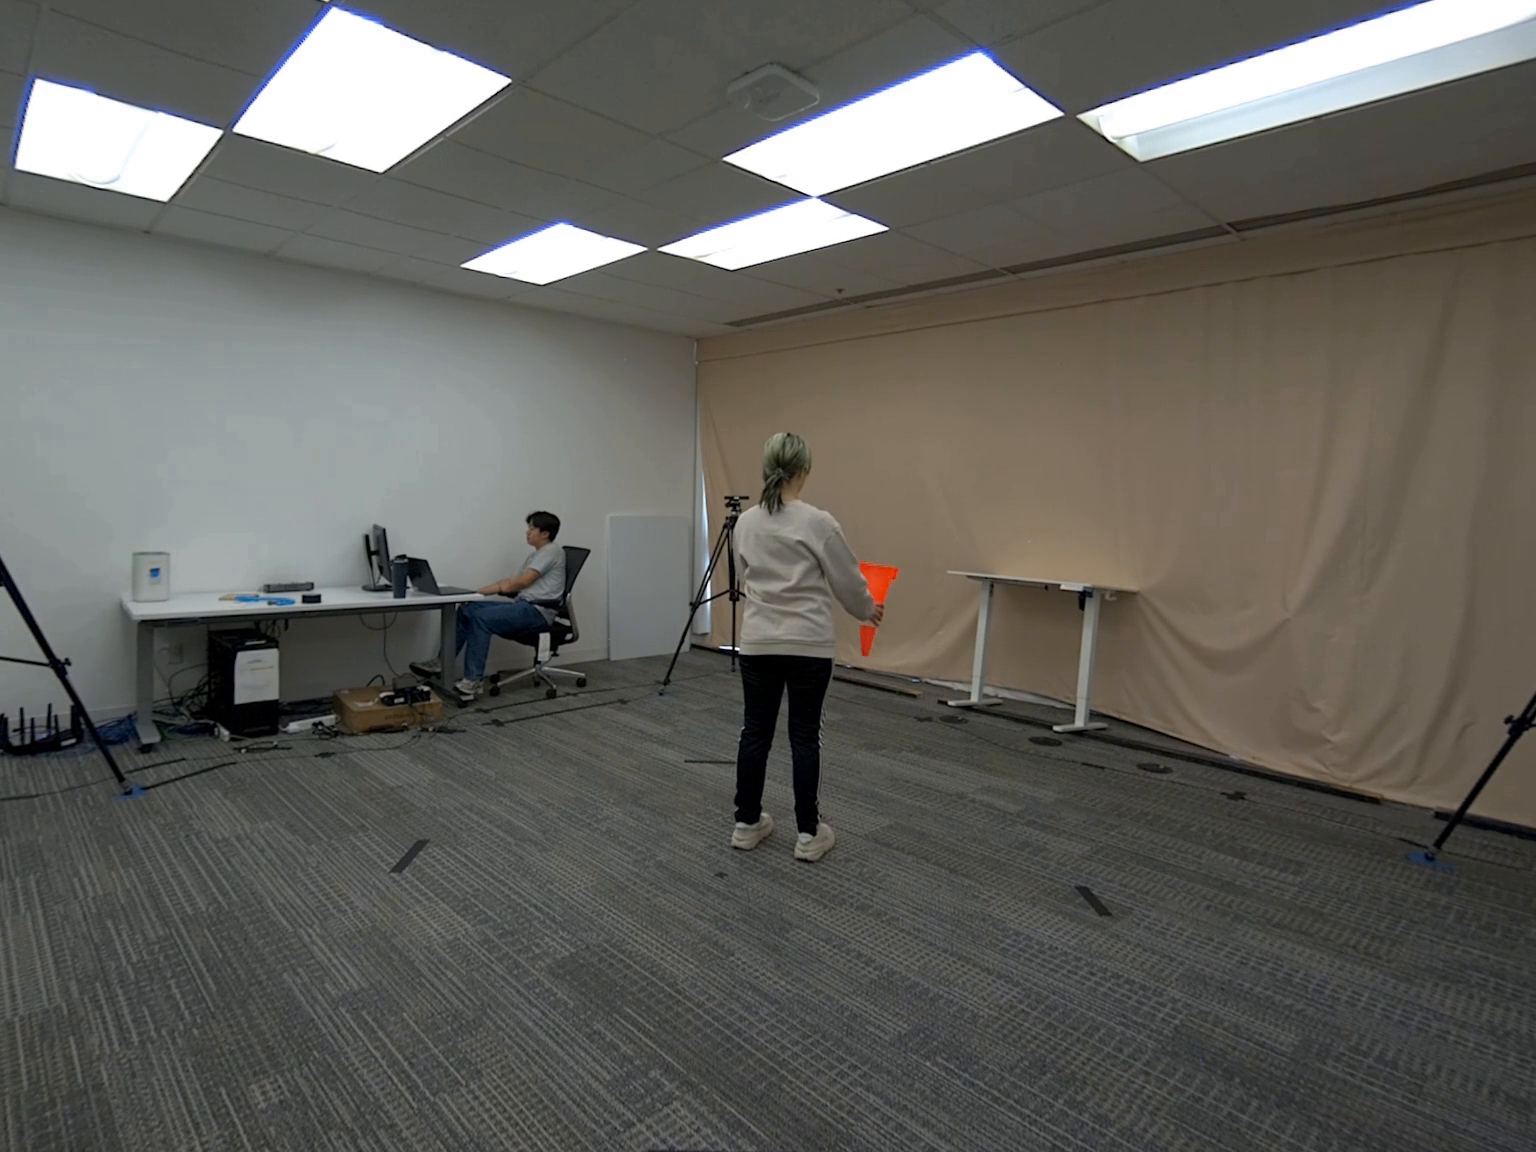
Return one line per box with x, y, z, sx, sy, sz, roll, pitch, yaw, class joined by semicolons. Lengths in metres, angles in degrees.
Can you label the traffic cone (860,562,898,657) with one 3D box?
0.440;0.164;3.639;0.205;0.387;0.202;6;-15;6;traffic cone
